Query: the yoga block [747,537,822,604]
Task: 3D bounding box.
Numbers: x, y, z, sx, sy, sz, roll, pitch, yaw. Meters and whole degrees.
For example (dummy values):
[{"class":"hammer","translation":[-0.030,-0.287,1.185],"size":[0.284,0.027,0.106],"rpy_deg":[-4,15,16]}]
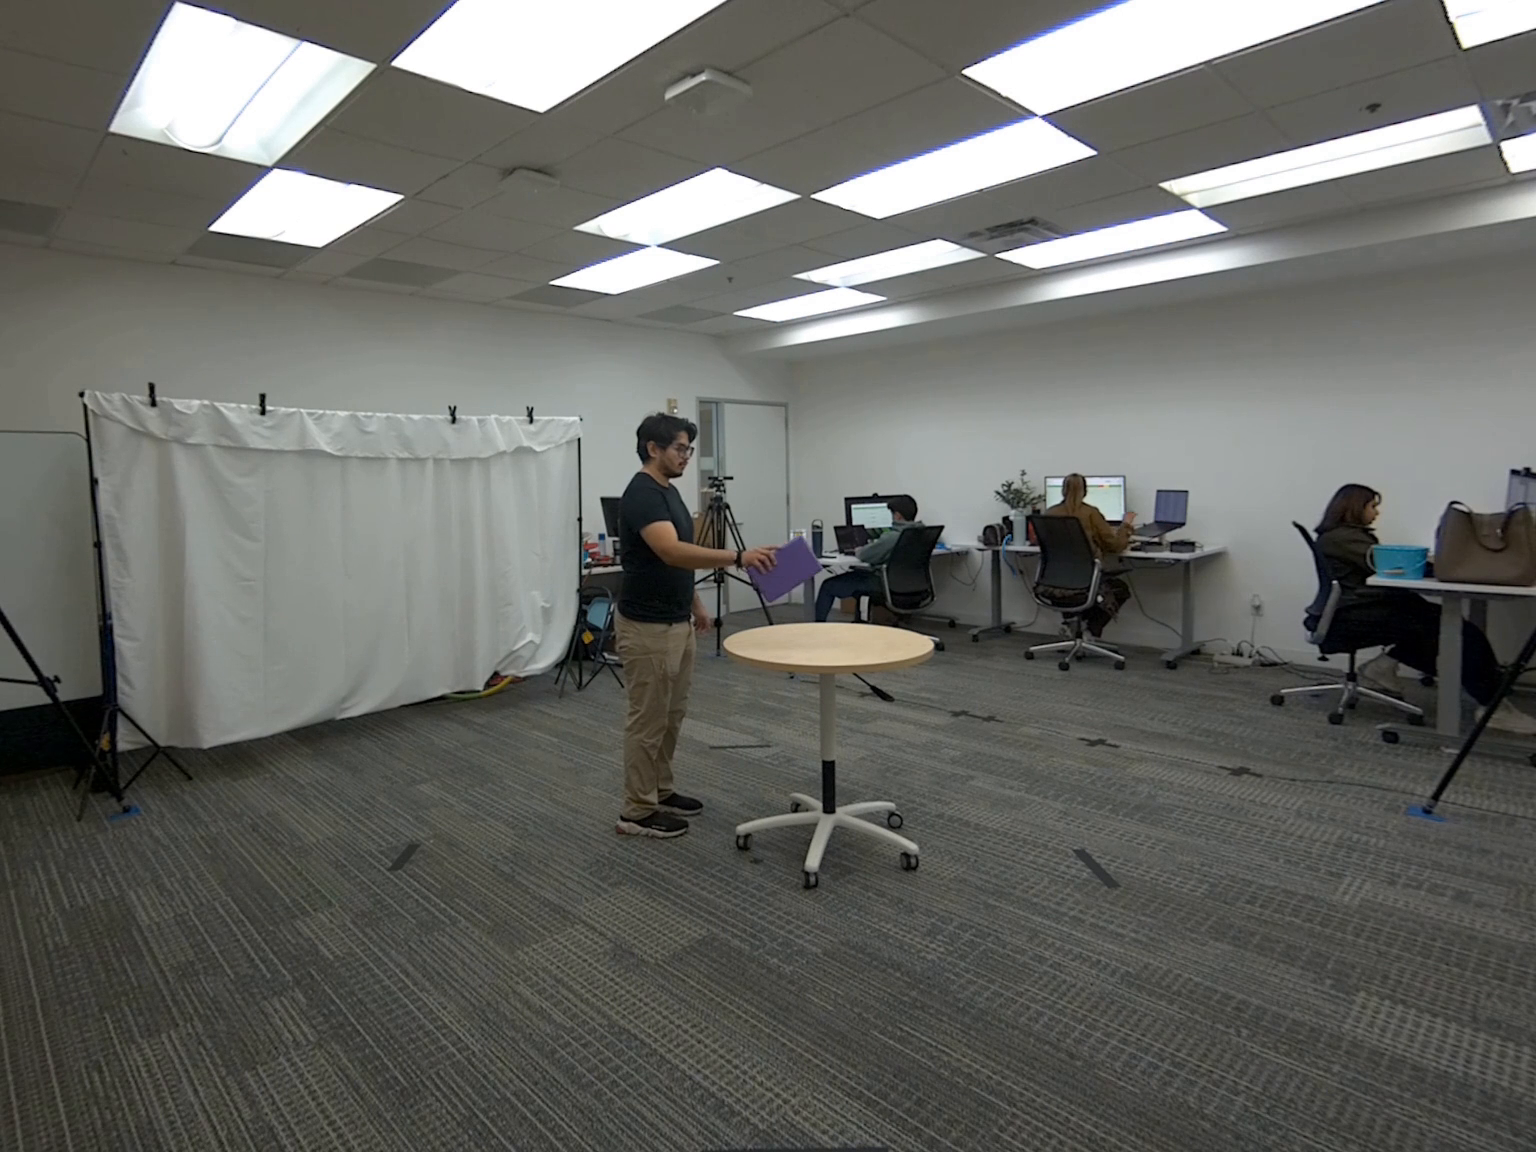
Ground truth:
[{"class":"yoga block","translation":[0.055,-0.016,3.015],"size":[0.229,0.150,0.076],"rpy_deg":[-33,-3,-1]}]
